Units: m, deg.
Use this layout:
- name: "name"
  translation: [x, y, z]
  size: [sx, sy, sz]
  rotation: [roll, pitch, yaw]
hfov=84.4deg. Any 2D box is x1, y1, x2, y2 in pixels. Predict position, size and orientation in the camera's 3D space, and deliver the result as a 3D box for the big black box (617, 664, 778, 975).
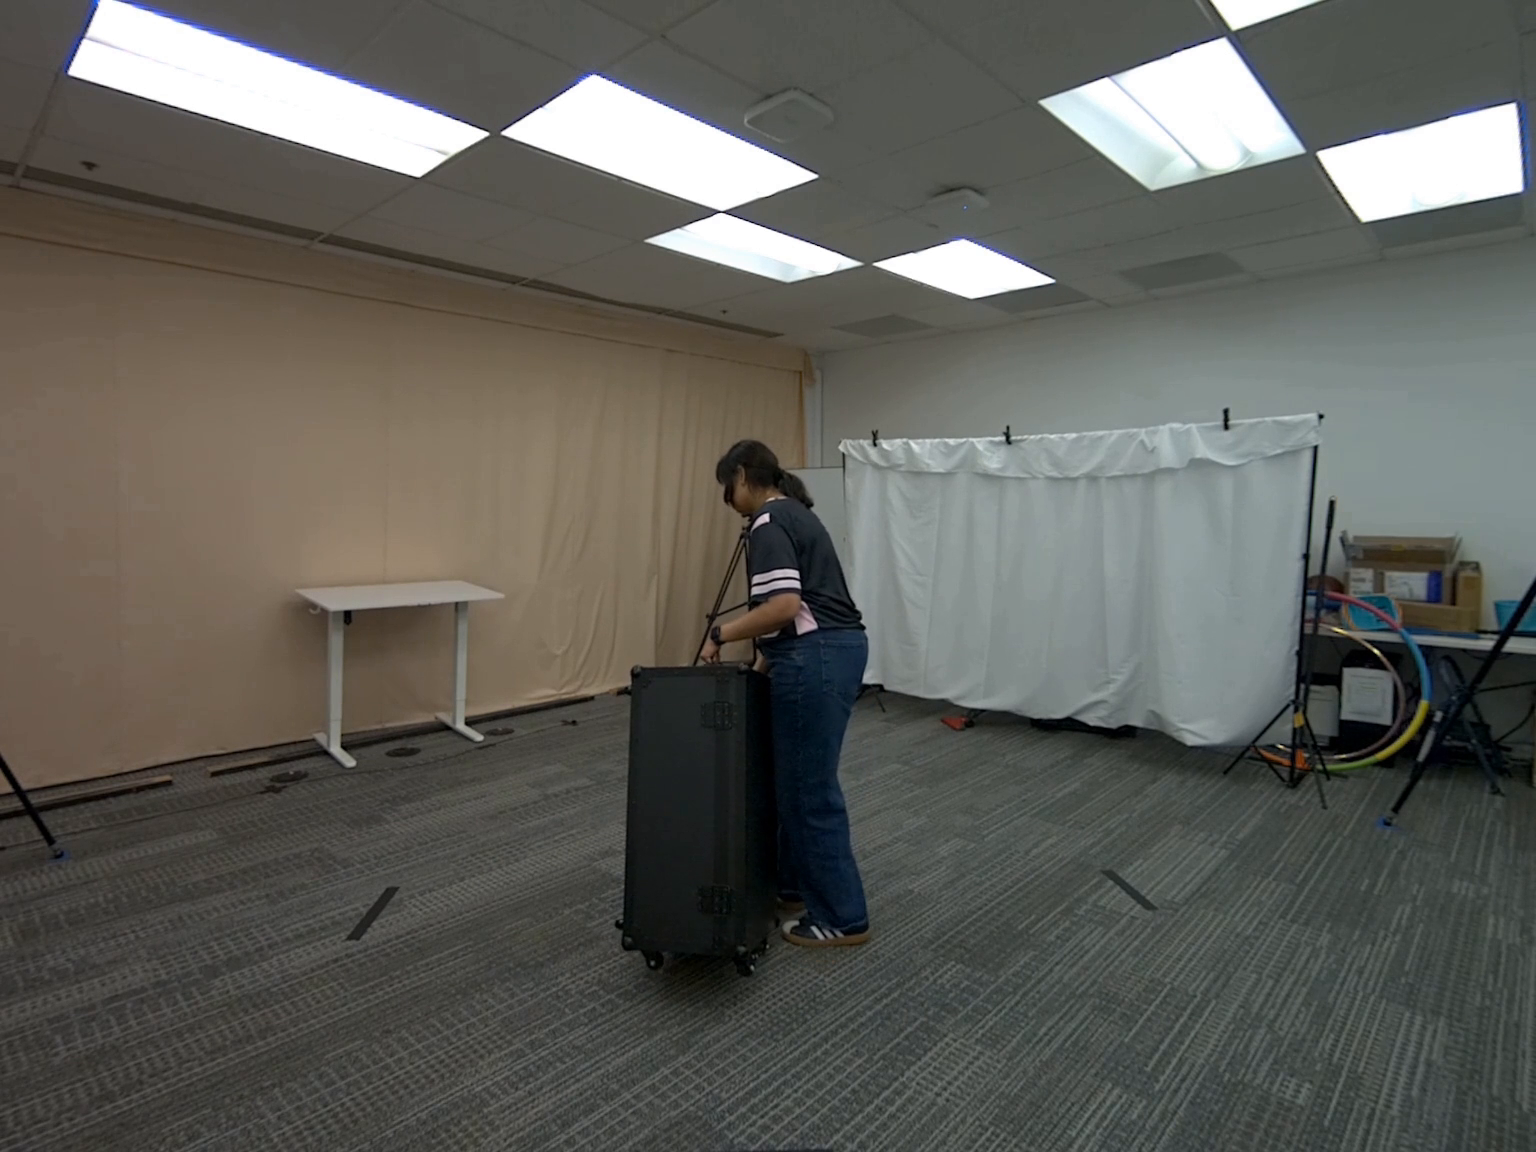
- name: "big black box"
  translation: [-0.194, 0.736, 2.595]
  size: [0.390, 0.876, 0.512]
  rotation: [-3, -14, 10]
